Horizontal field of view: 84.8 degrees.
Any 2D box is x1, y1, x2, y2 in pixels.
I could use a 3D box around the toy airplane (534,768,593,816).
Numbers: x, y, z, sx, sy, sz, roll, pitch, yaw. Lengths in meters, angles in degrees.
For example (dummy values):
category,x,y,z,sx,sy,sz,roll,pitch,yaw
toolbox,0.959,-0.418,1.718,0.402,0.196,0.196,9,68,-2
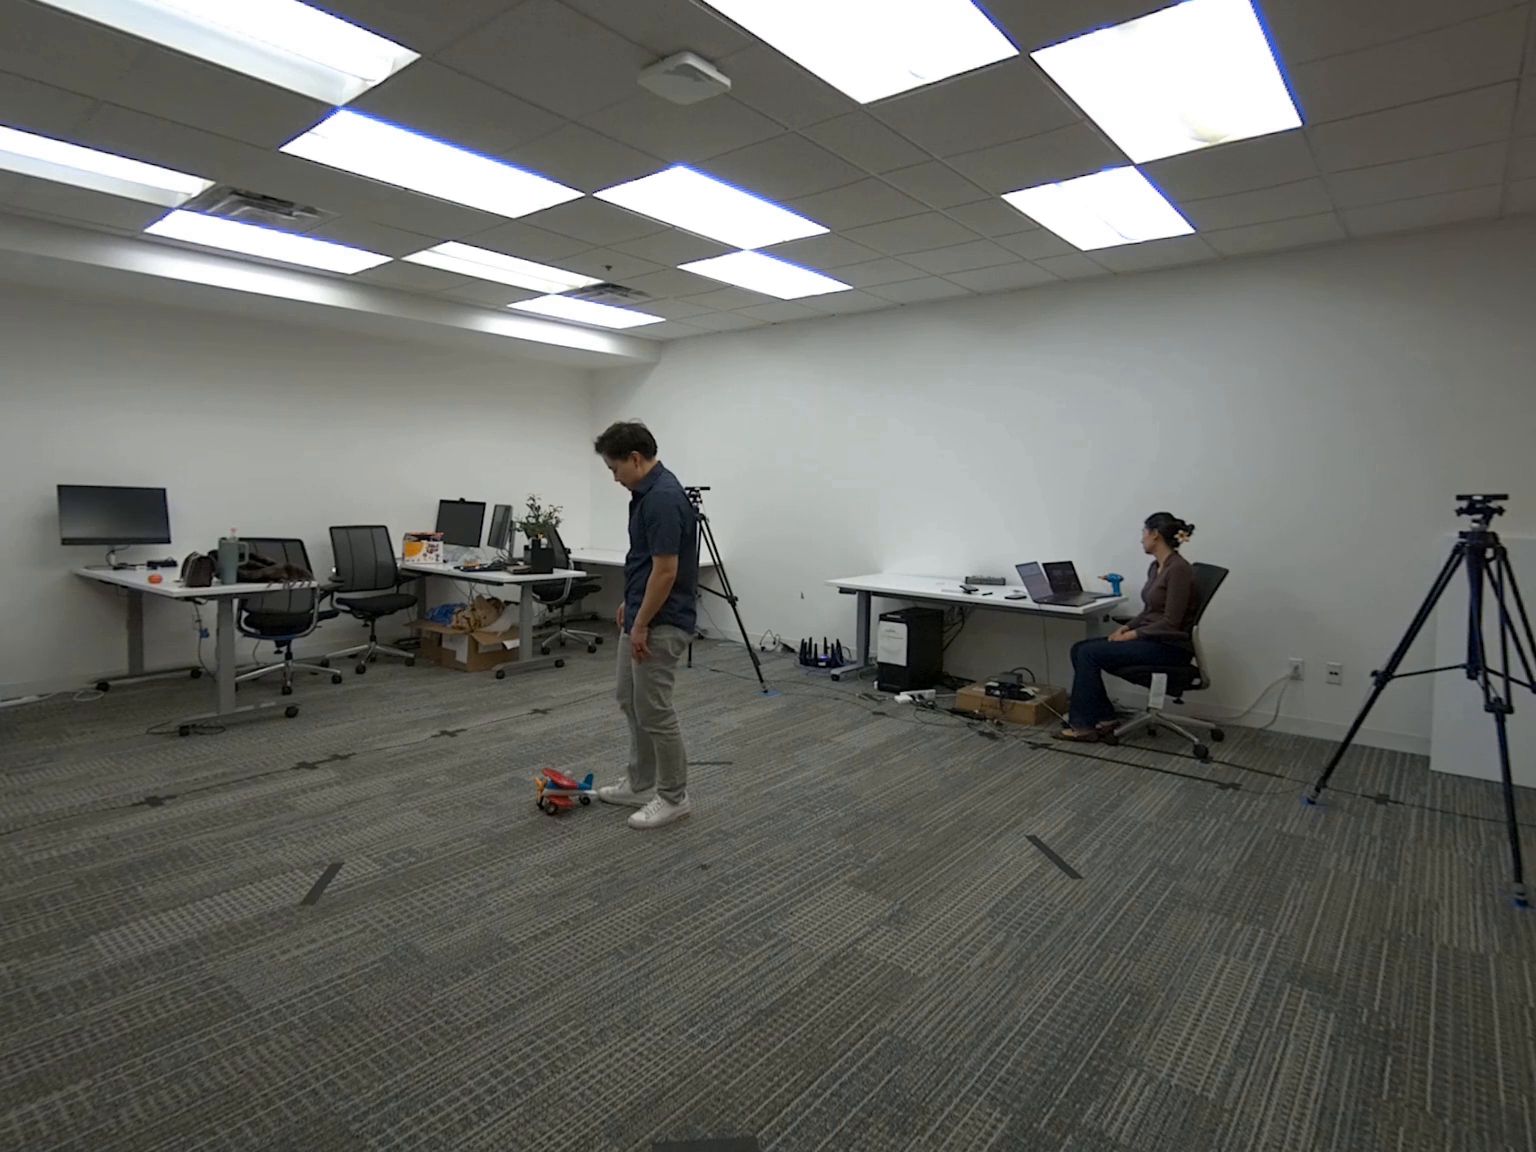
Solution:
category,x,y,z,sx,sy,sz,roll,pitch,yaw
toy airplane,-0.903,0.929,3.702,0.258,0.156,0.254,2,6,26
